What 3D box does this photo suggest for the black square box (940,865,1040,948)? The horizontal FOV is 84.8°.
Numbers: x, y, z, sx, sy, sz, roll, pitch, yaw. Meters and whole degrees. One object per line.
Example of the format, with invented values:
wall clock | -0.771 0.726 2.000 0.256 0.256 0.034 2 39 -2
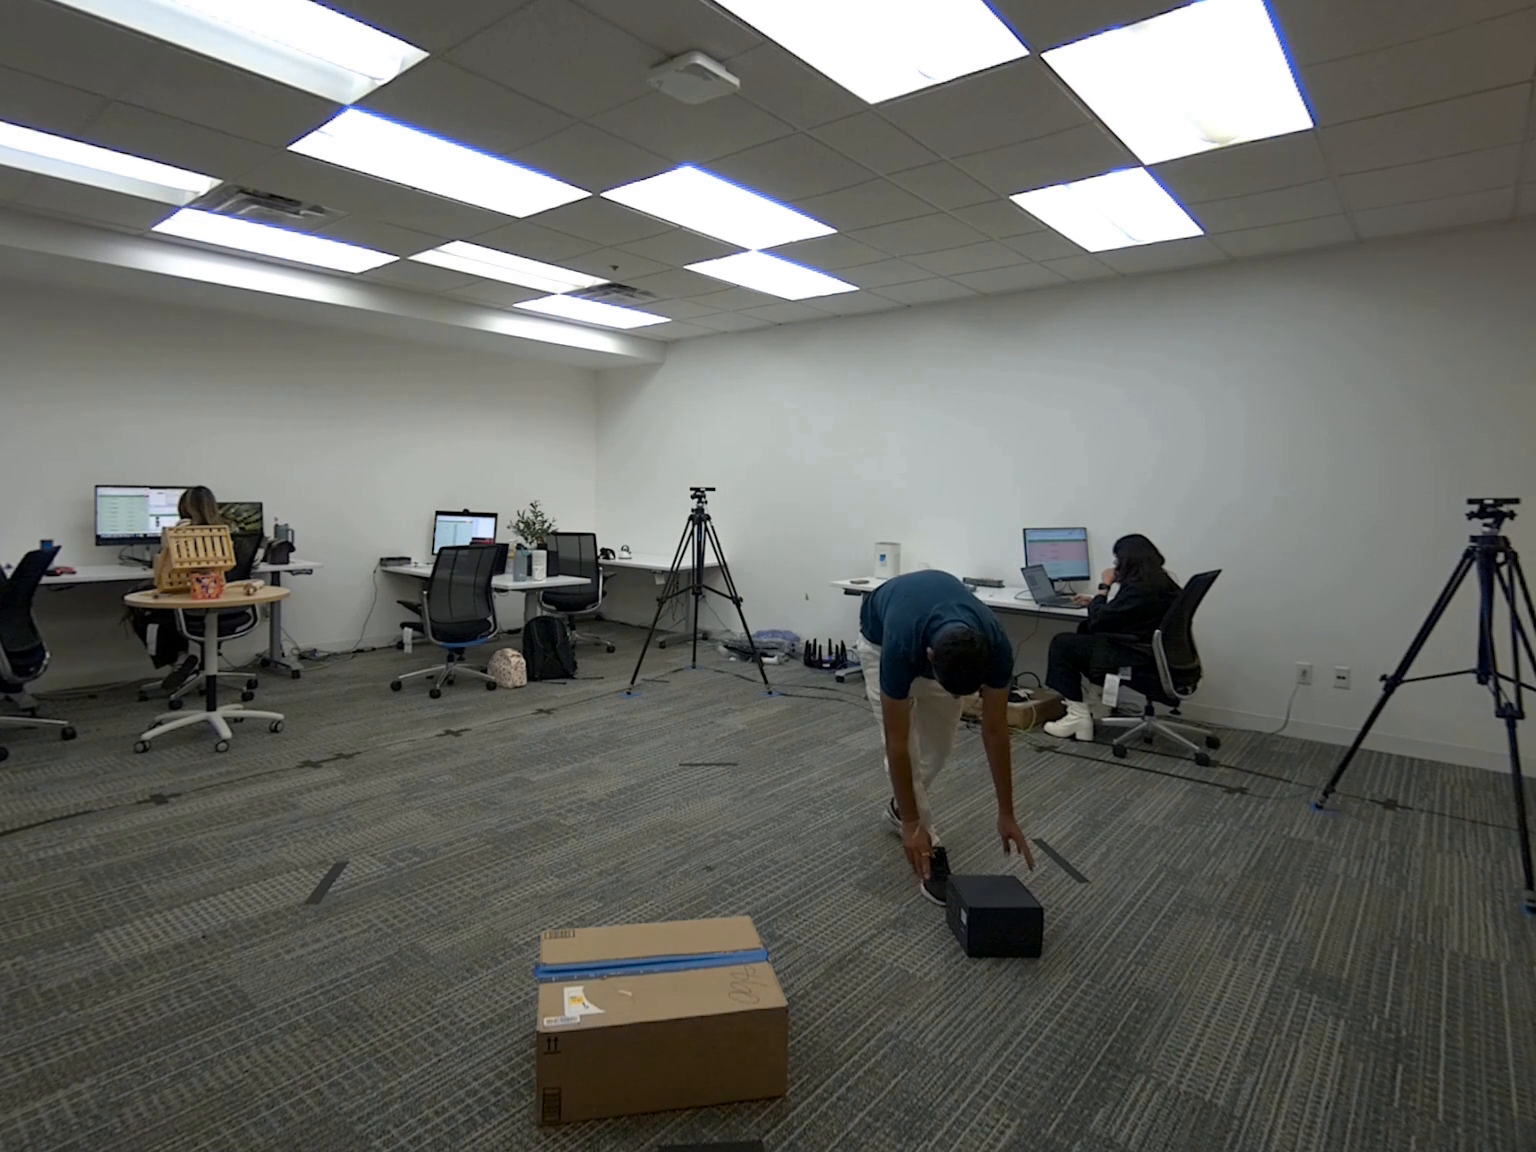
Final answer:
black square box | 0.695 1.040 2.659 0.227 0.155 0.219 1 4 -5
